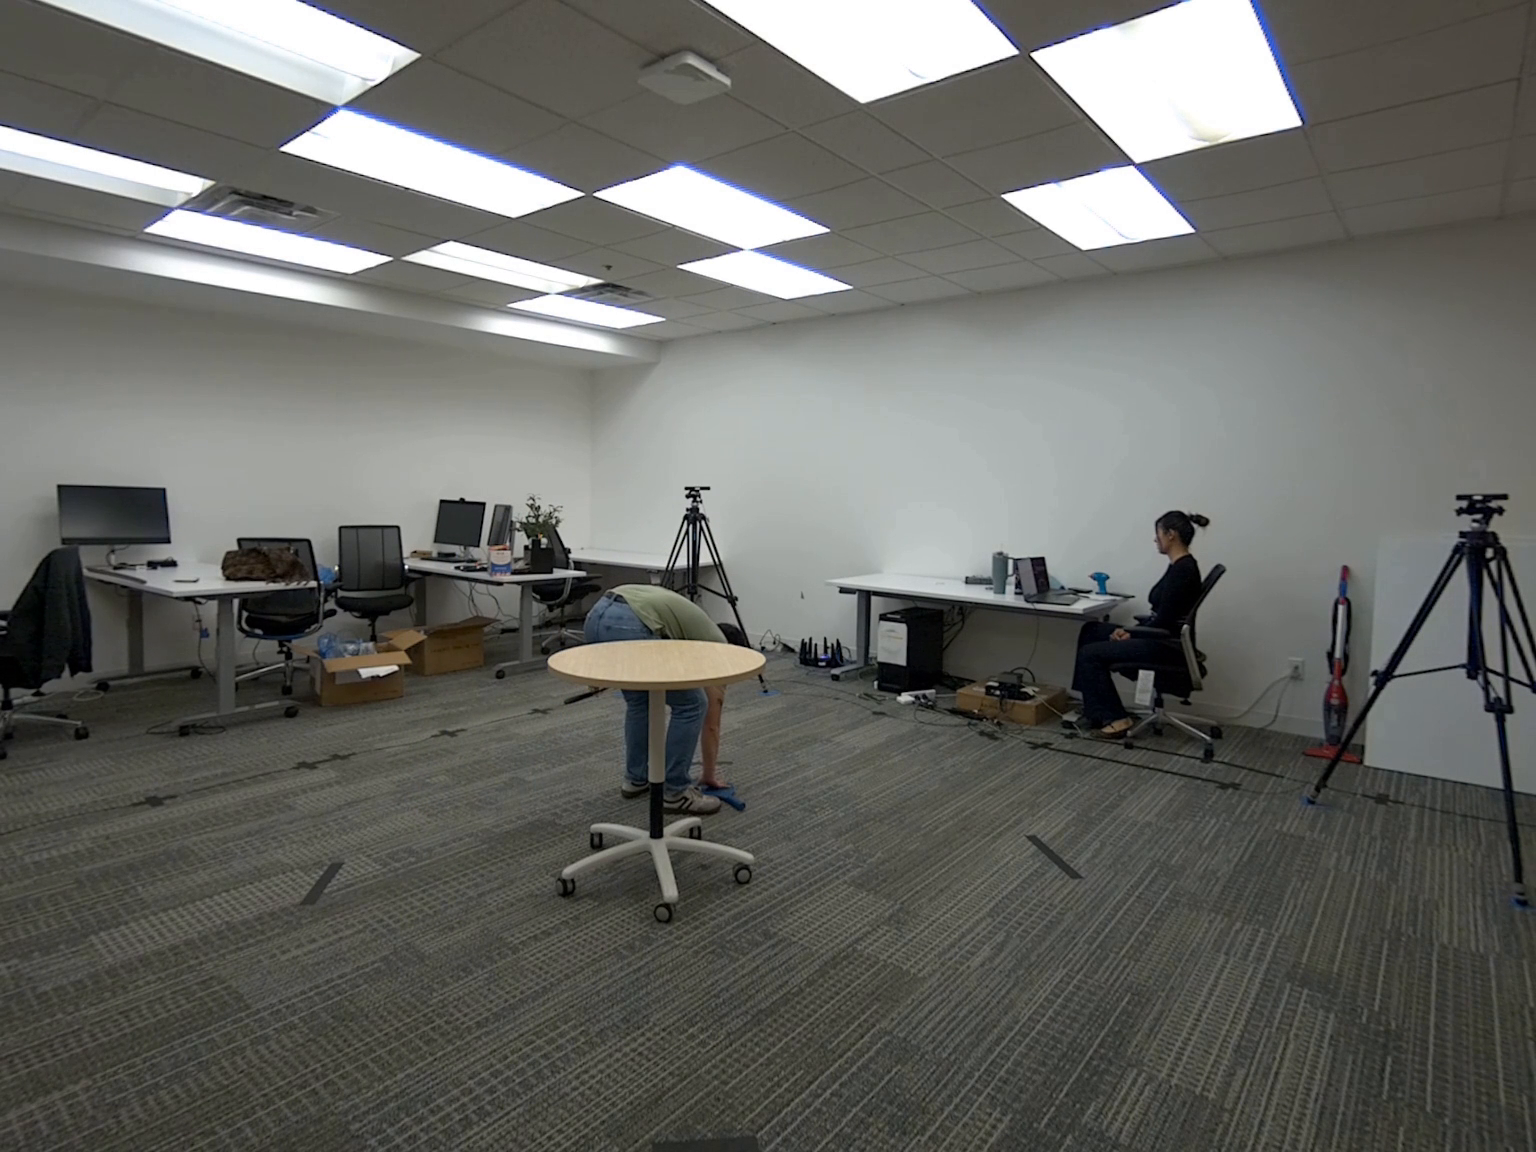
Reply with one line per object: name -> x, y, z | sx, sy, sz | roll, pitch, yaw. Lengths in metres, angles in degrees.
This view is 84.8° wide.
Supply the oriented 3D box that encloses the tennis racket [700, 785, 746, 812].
tennis racket -> -0.237, 0.985, 3.855 | 0.208, 0.032, 0.445 | -3, 4, -31
